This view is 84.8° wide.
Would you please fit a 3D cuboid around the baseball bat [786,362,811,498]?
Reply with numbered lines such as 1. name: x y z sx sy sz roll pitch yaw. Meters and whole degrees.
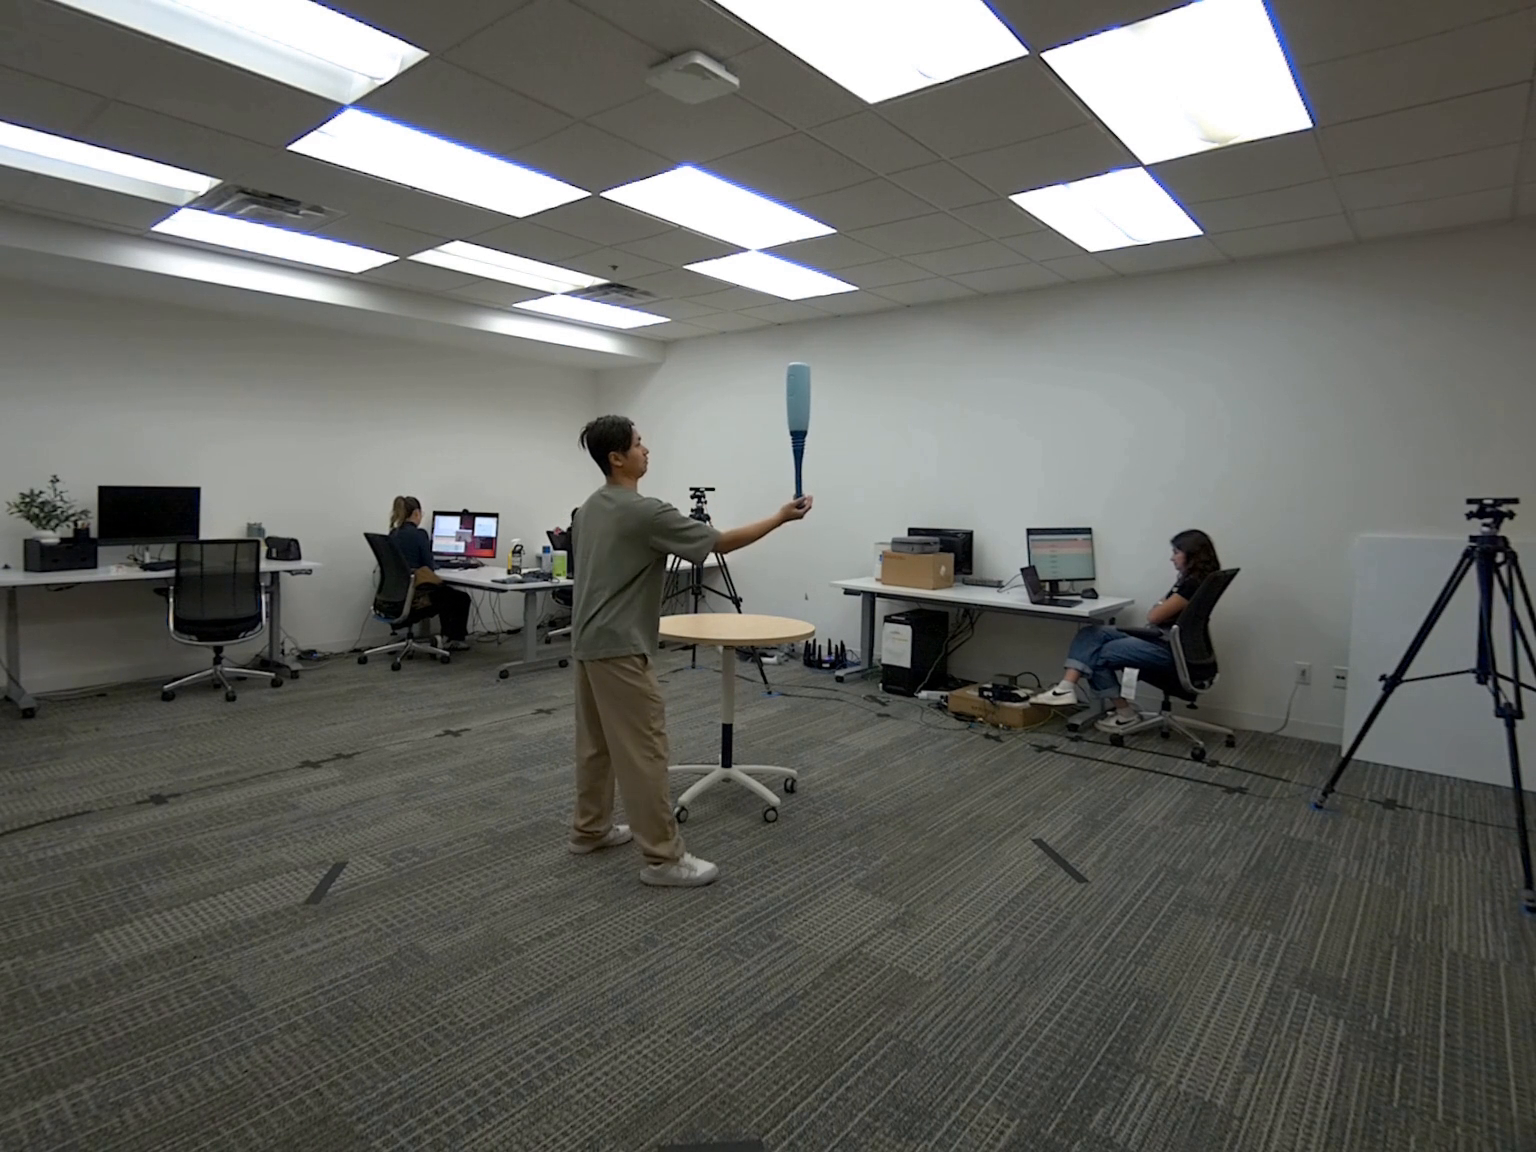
1. baseball bat: 0.101 -0.531 3.161 0.089 0.542 0.089 0 2 -2
